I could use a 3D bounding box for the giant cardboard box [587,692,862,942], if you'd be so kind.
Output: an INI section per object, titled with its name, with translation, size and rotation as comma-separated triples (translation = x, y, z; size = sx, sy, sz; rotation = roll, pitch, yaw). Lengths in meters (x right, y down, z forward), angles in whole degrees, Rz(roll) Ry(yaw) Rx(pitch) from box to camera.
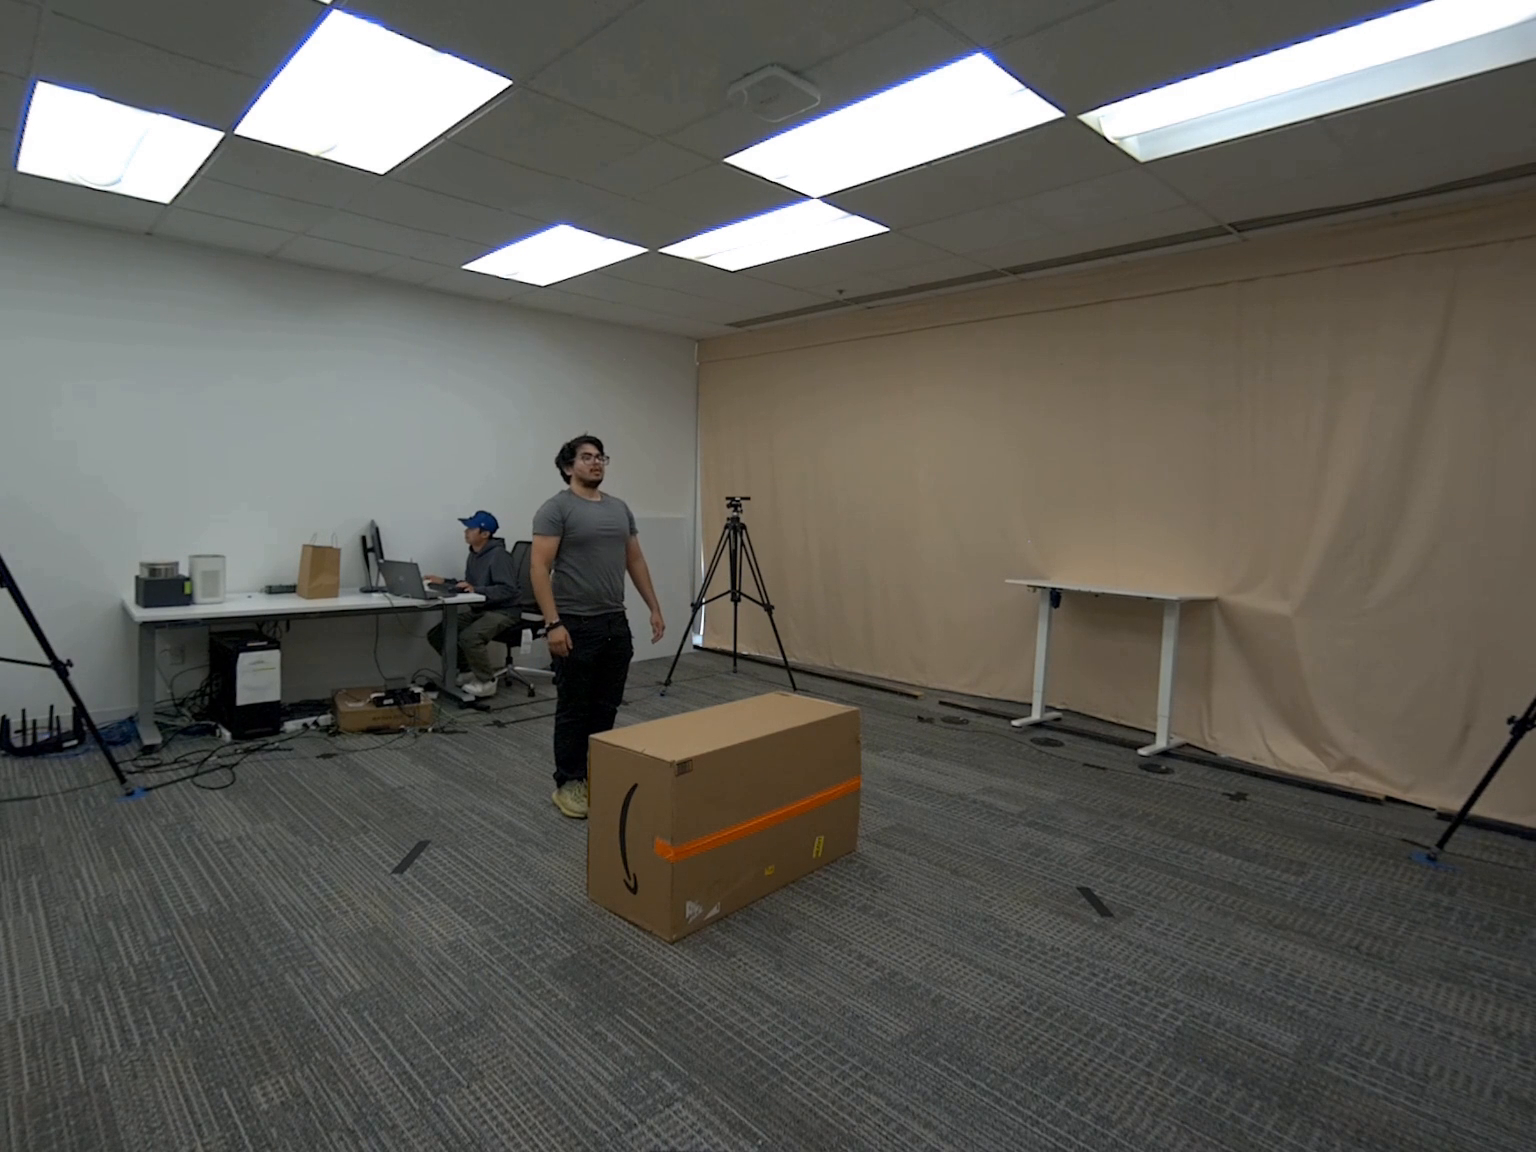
[giant cardboard box]
translation = -0.129, 0.816, 3.108
size = 0.437, 0.576, 1.003
rotation = 5, 6, 41
